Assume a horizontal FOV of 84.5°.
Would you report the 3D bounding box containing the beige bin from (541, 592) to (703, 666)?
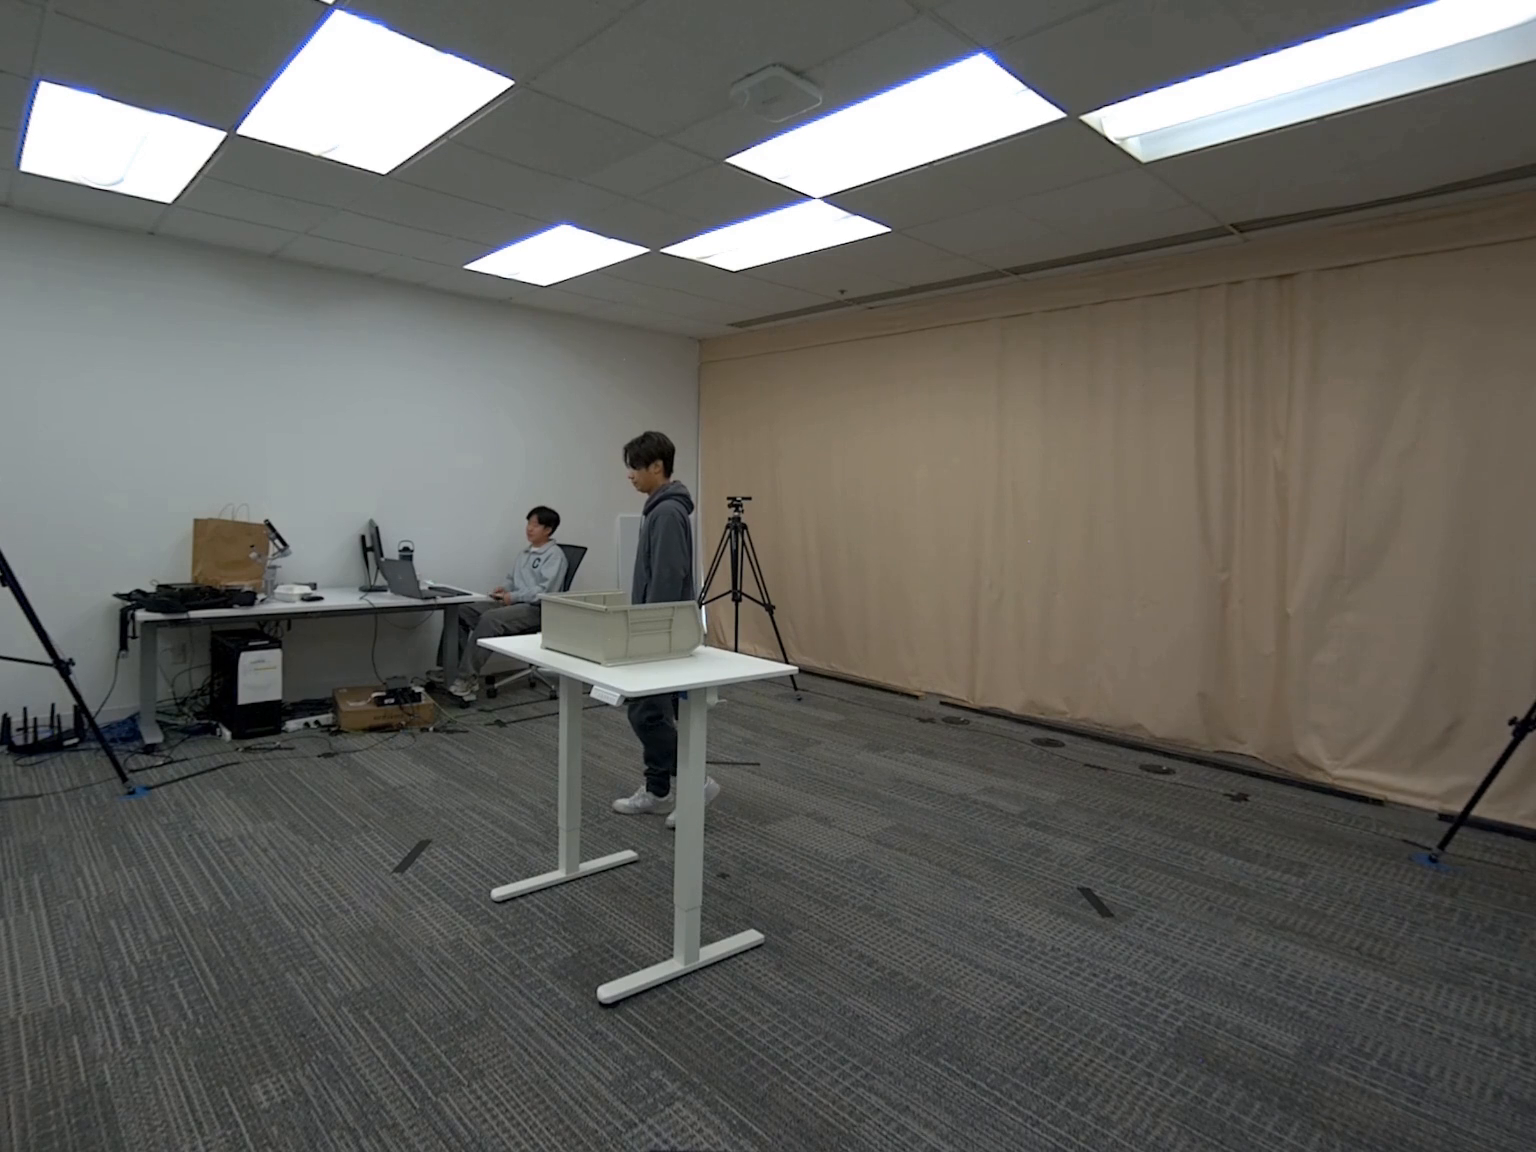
[{"bbox_3d":[-0.492,0.162,2.732,0.369,0.188,0.433,-3,6,-42],"label":"beige bin"}]
